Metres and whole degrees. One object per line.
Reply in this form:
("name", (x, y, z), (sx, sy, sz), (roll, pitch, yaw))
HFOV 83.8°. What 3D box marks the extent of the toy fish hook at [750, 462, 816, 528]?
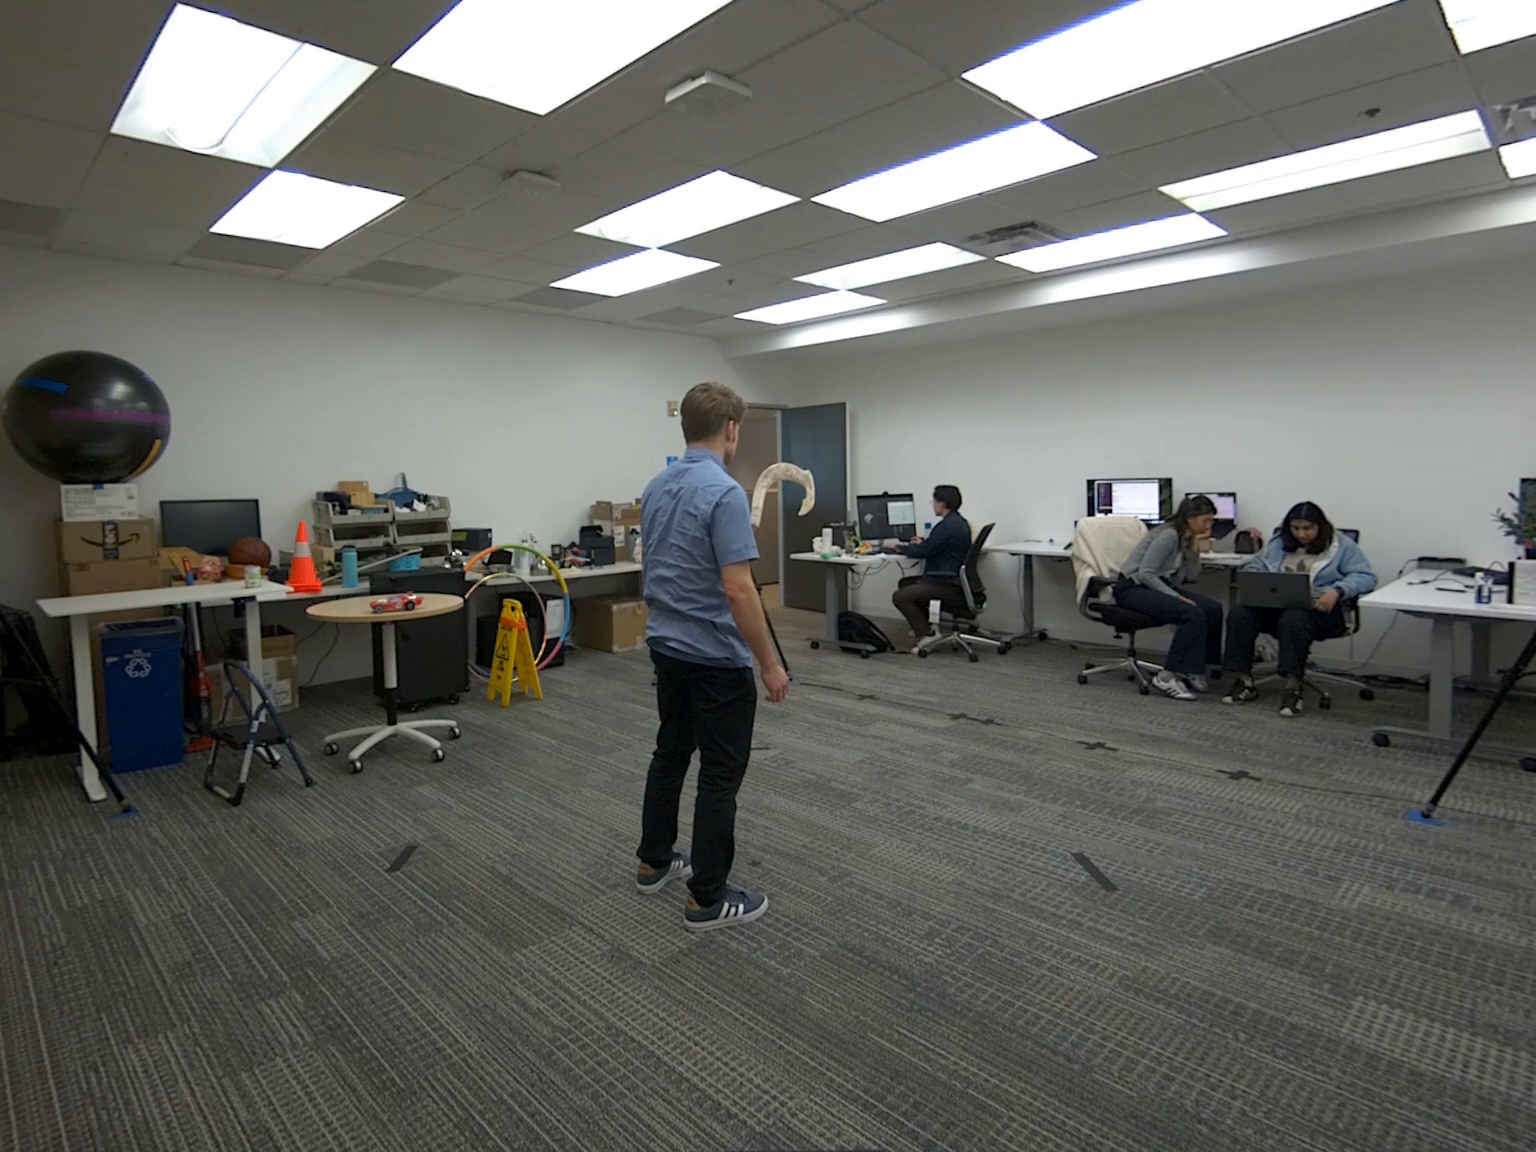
("toy fish hook", (0.012, -0.201, 3.060), (0.229, 0.511, 0.047), (18, -28, 16))
